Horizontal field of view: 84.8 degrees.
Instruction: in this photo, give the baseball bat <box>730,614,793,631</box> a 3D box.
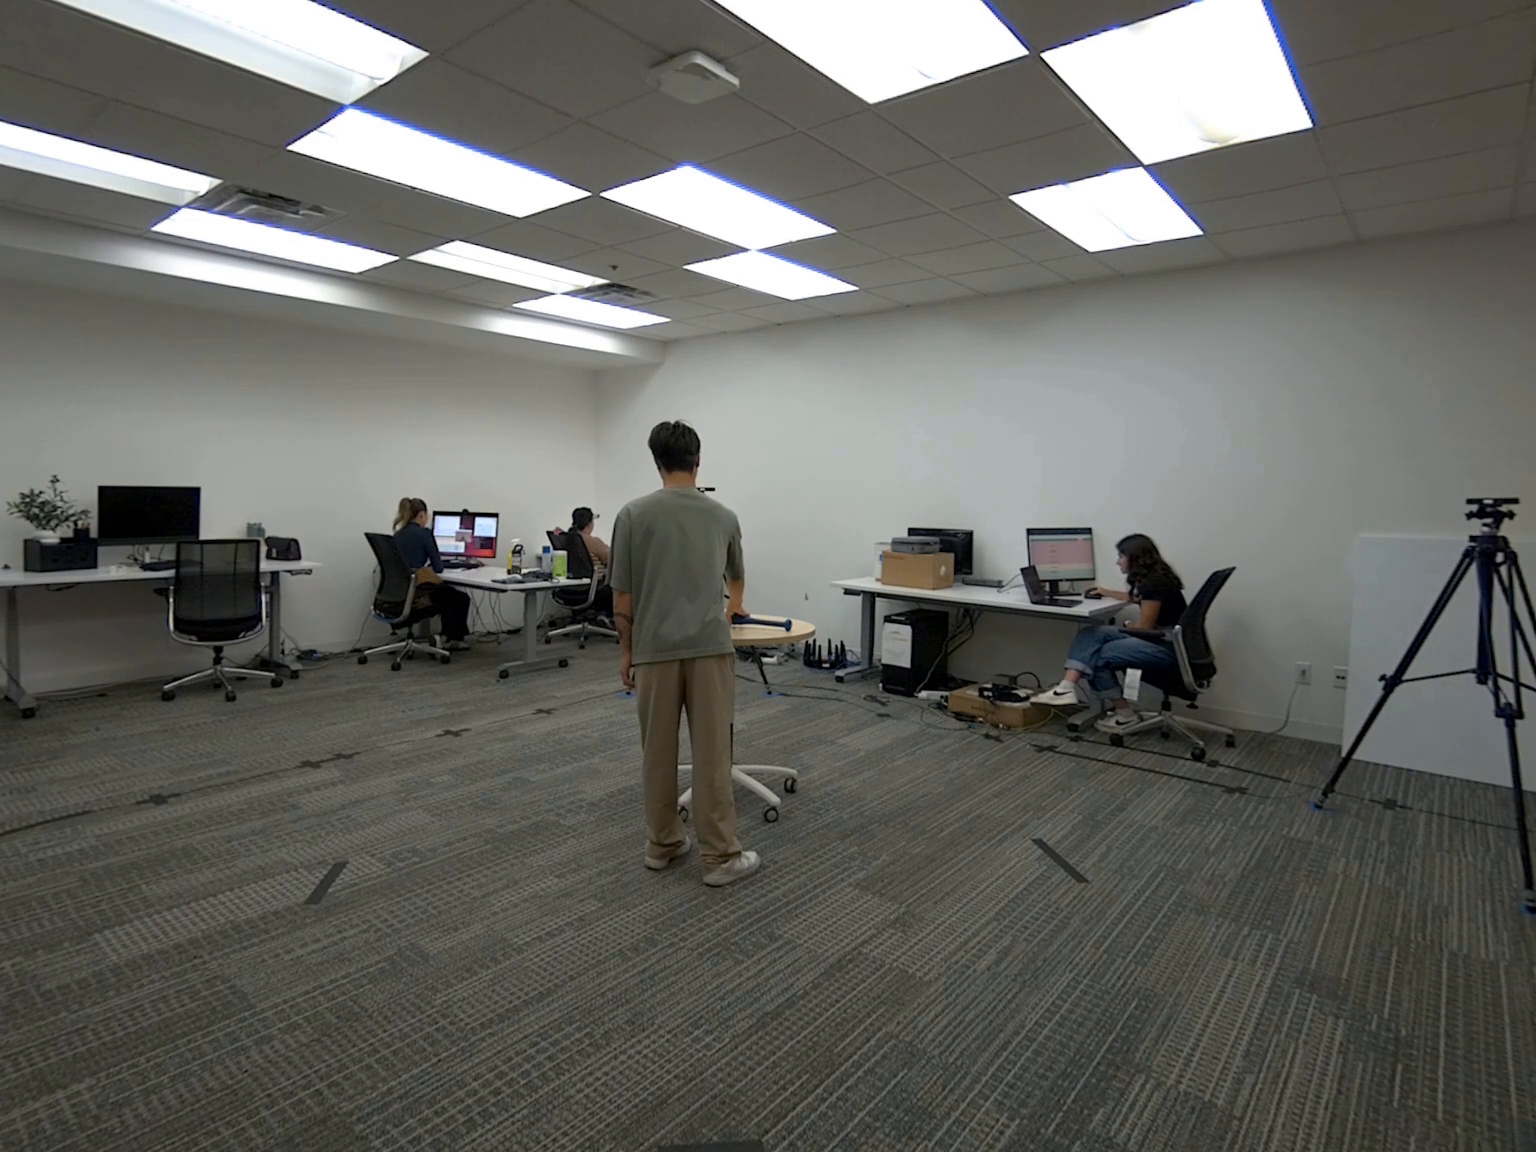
[{"bbox_3d":[-0.167,0.185,3.743,0.555,0.089,0.087,6,5,20],"label":"baseball bat"}]
